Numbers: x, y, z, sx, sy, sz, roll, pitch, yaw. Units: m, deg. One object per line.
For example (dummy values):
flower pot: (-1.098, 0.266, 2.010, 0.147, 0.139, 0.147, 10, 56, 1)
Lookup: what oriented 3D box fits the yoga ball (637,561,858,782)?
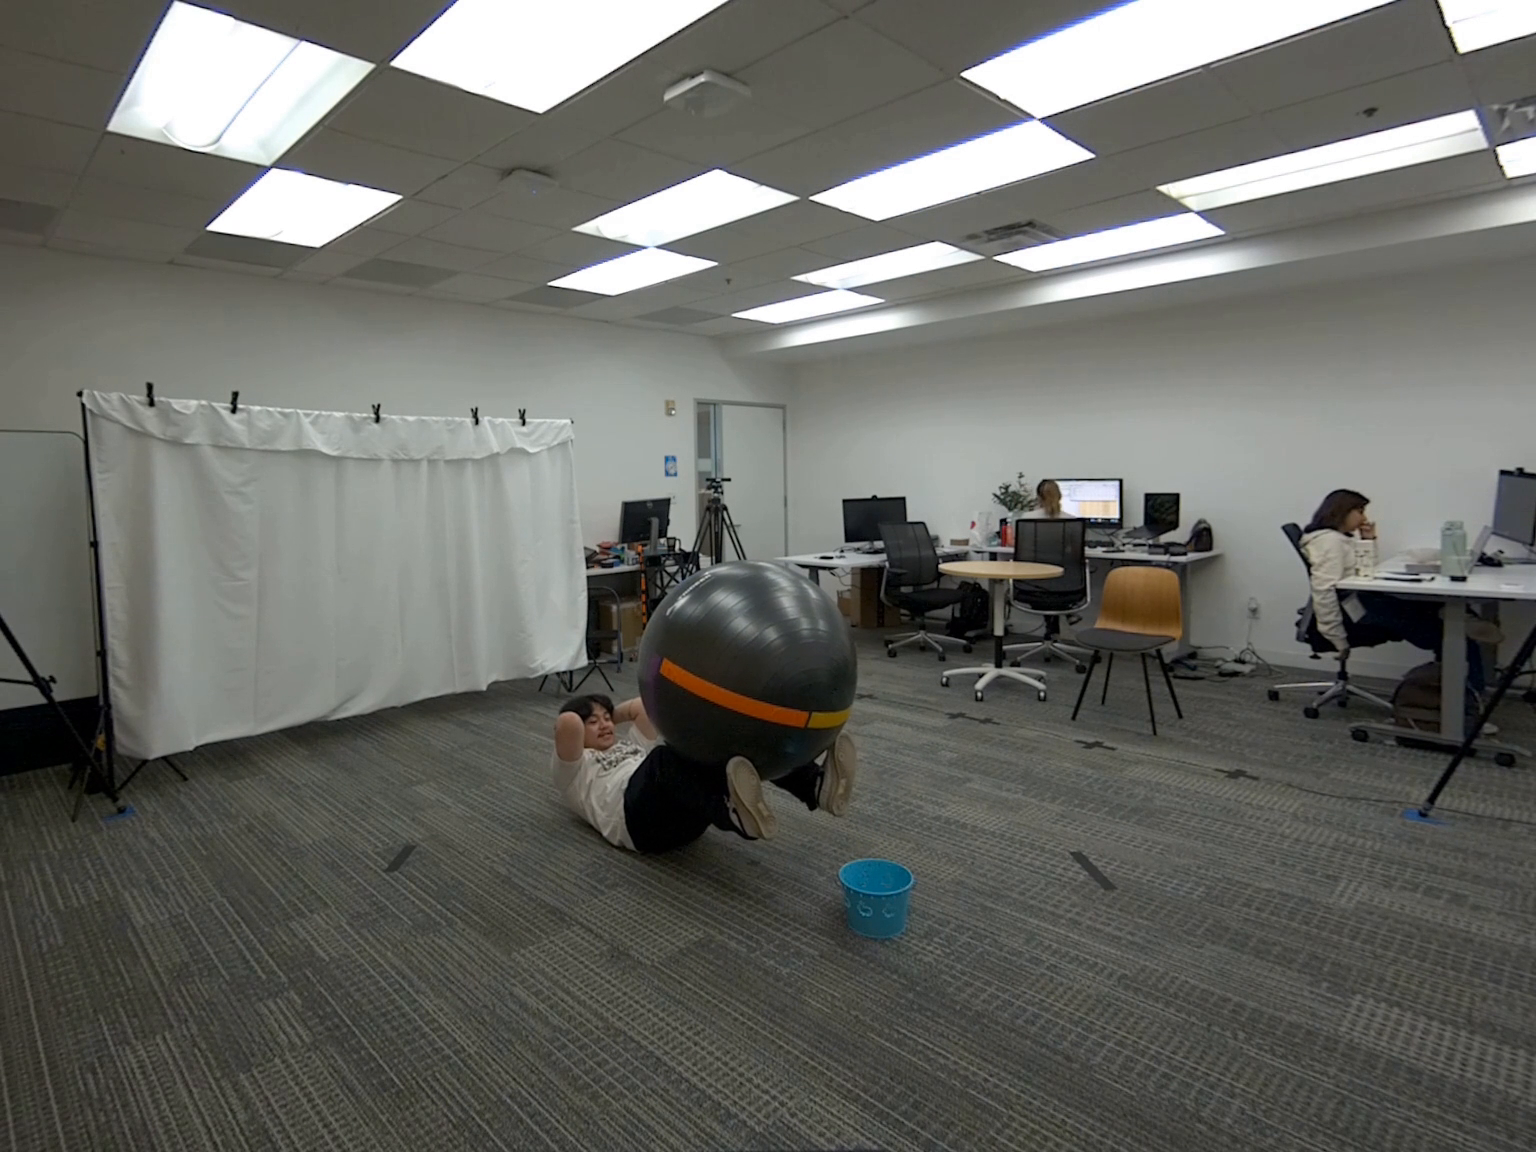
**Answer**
yoga ball: (-0.071, 0.321, 2.969, 0.757, 0.755, 0.762, -1, 5, -2)
